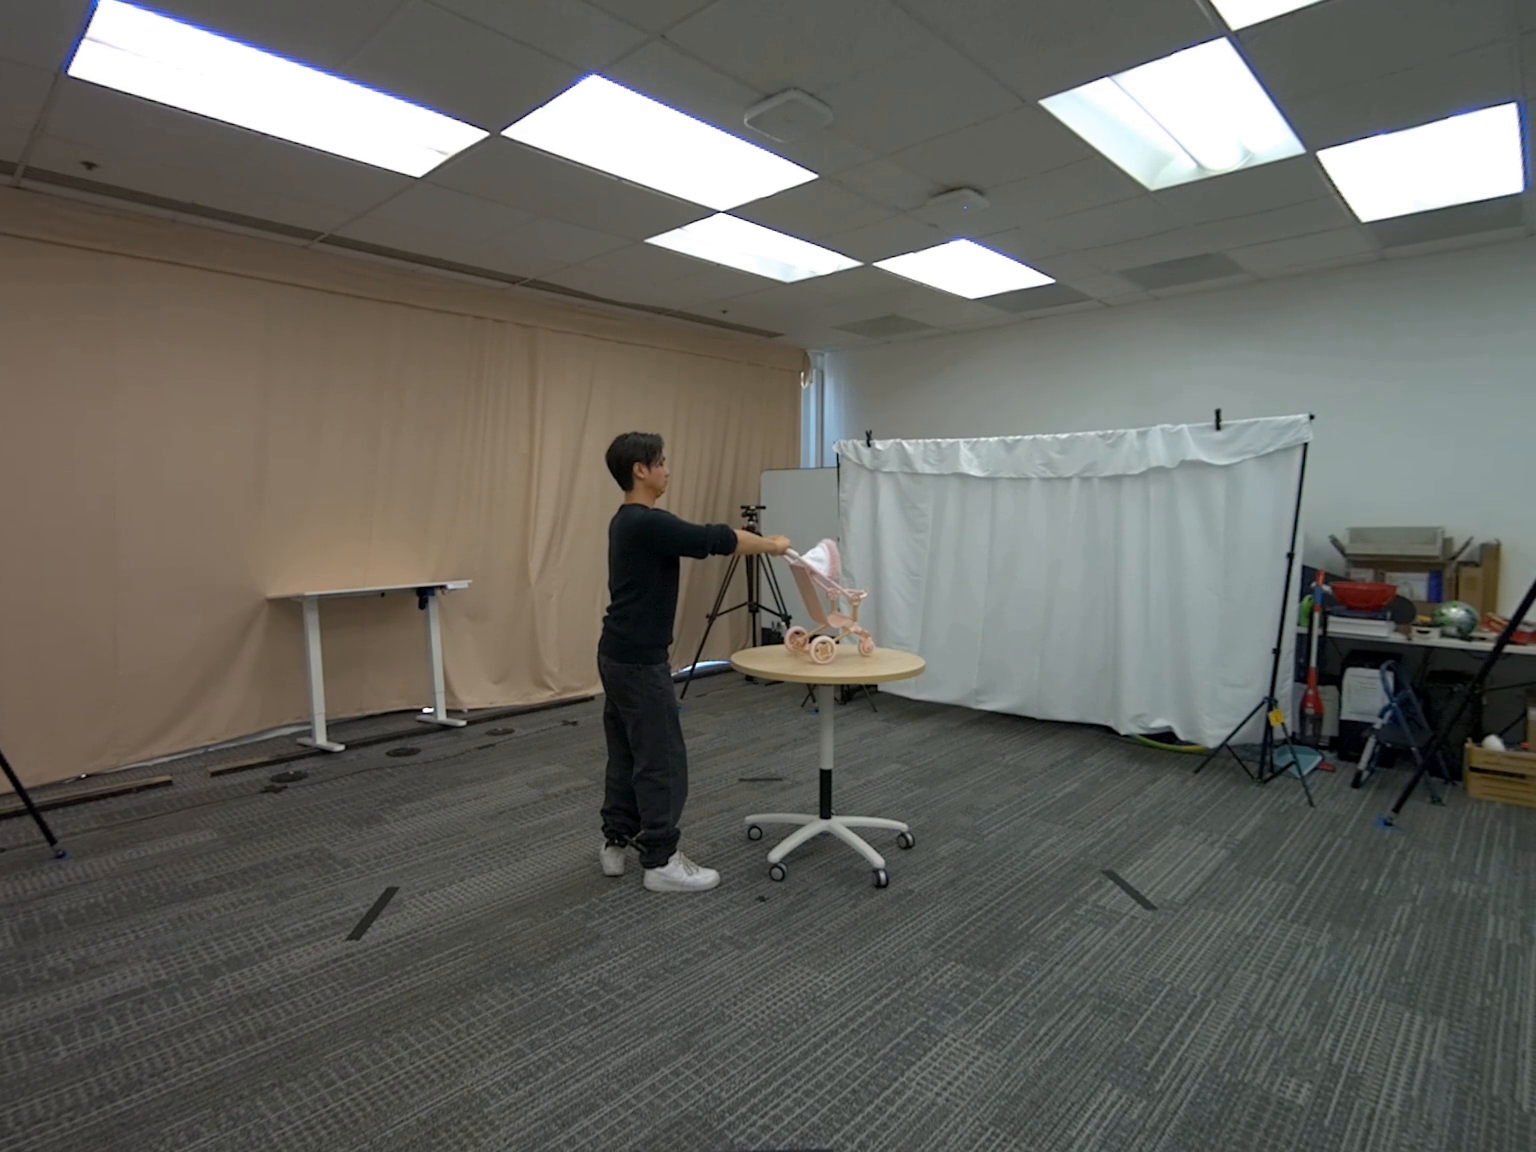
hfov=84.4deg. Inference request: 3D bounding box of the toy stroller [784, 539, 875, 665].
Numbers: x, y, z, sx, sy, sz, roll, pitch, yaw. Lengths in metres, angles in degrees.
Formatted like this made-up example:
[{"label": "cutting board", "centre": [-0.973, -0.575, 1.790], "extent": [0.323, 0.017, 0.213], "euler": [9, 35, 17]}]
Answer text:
[{"label": "toy stroller", "centre": [0.241, 0.098, 3.335], "extent": [0.337, 0.532, 0.286], "euler": [-13, 6, -13]}]
